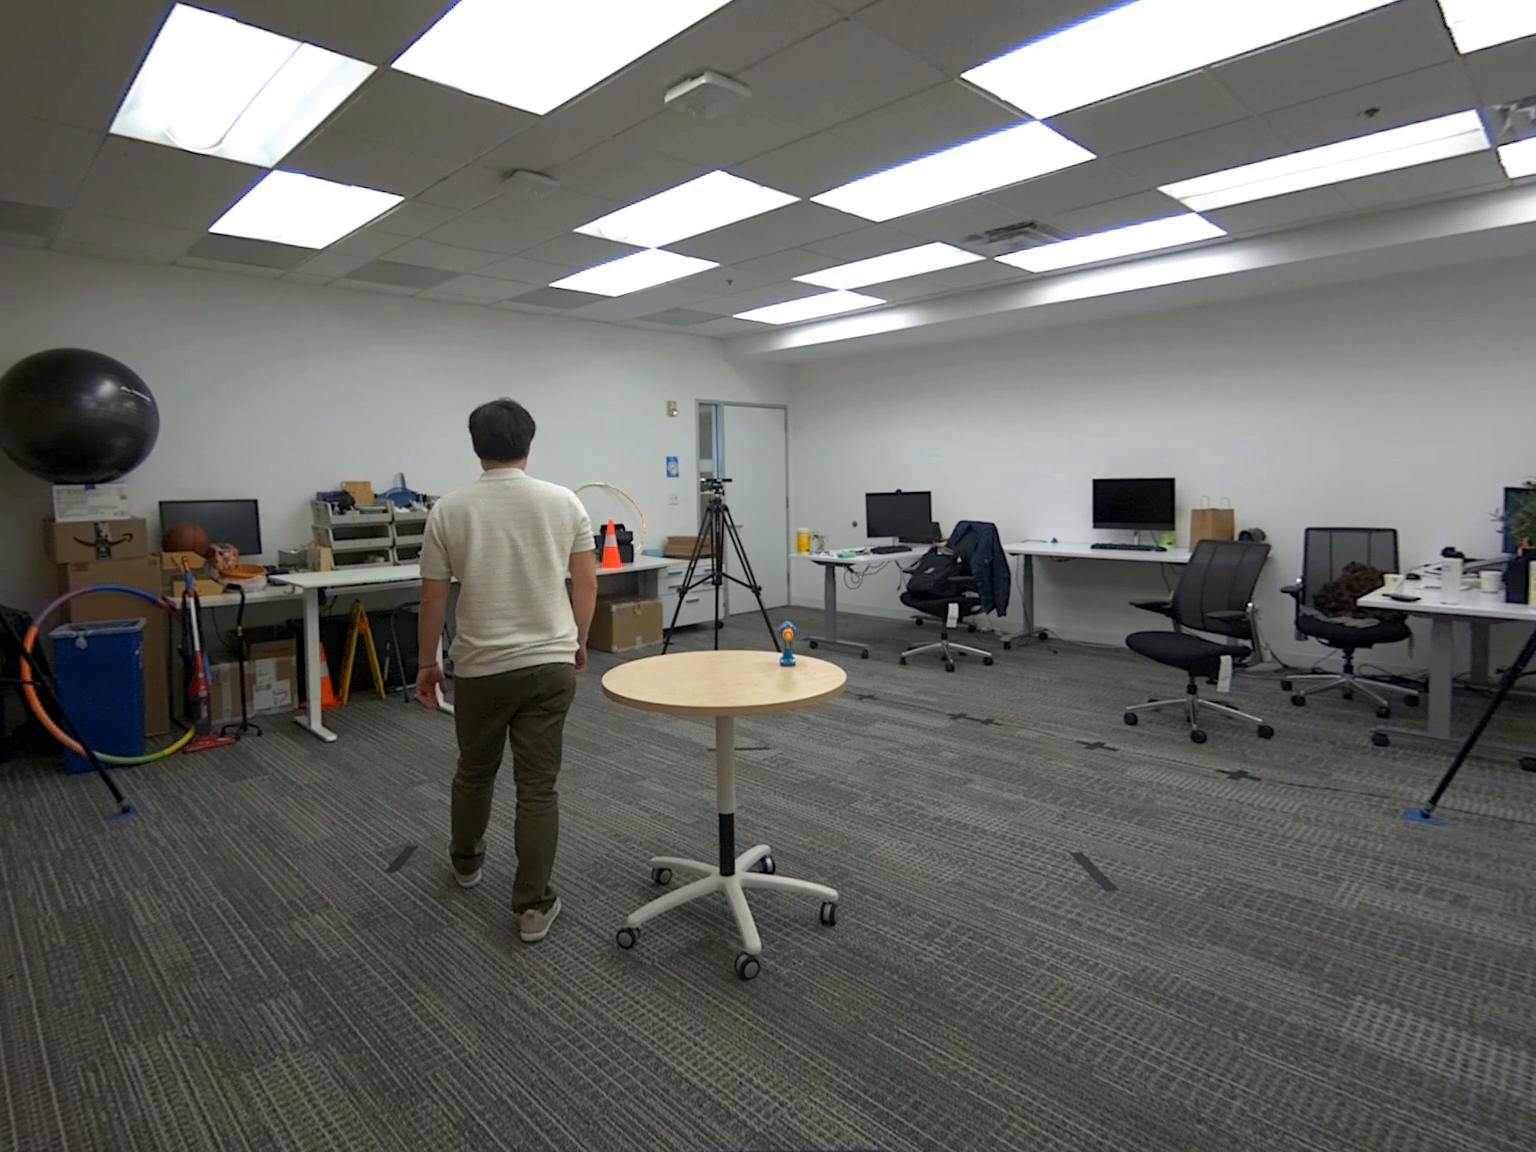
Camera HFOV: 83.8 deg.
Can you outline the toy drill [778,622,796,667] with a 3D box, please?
[{"bbox_3d":[0.067,0.223,2.770,0.061,0.145,0.170,0,5,-1],"label":"toy drill"}]
